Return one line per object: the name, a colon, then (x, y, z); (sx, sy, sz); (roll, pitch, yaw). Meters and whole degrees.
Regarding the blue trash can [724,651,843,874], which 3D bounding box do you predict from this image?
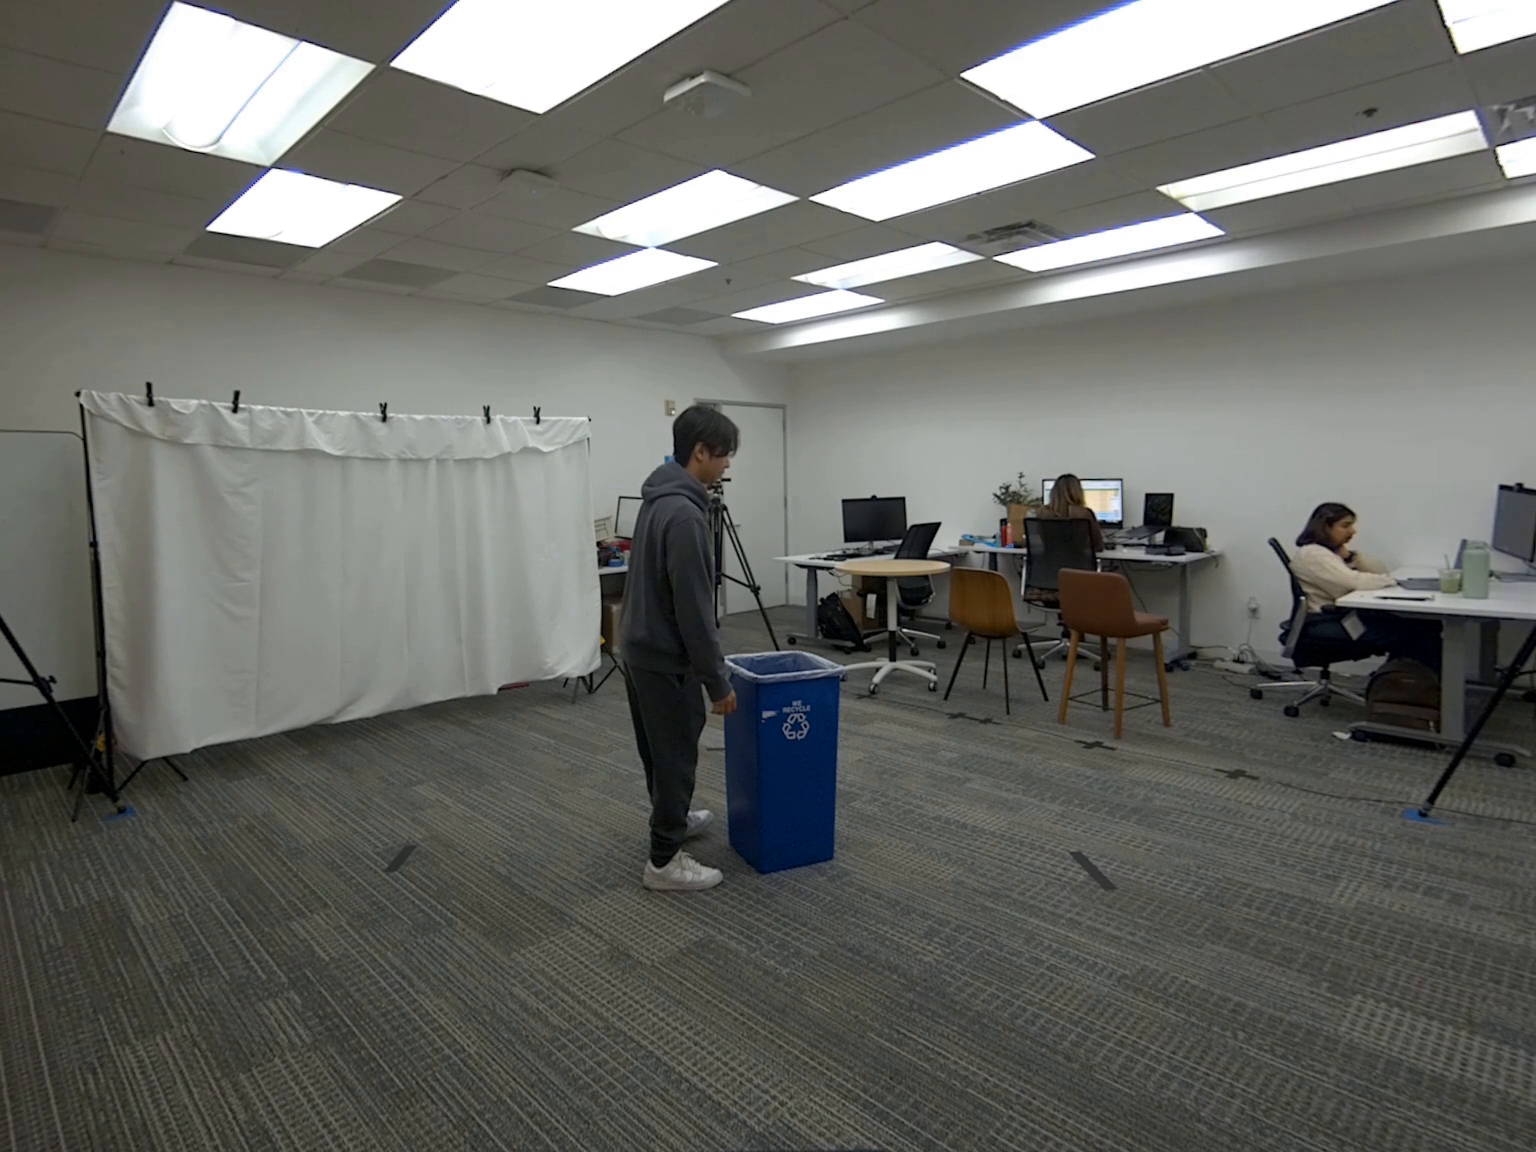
blue trash can: (0.048, 0.672, 3.186); (0.366, 0.711, 0.387); (-3, 5, -25)
